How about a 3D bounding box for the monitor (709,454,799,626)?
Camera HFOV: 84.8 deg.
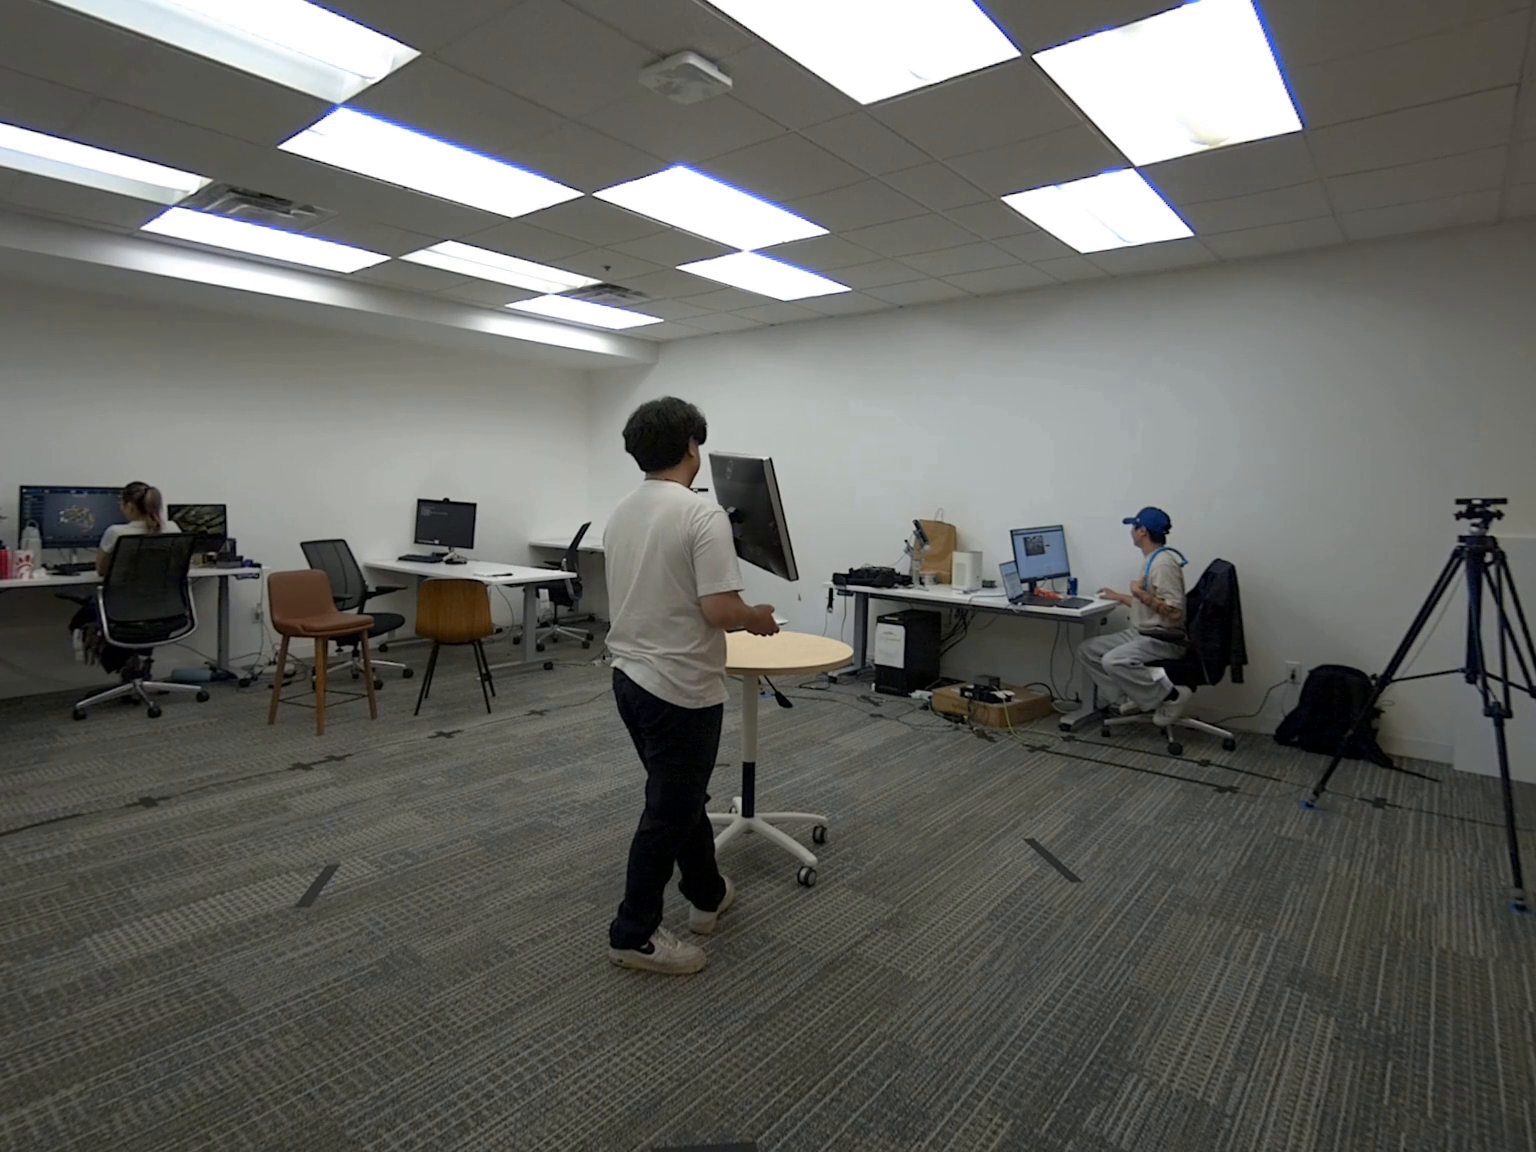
[{"bbox_3d":[-0.118,-0.105,2.639,0.207,0.548,0.580,-11,12,-18],"label":"monitor"}]
